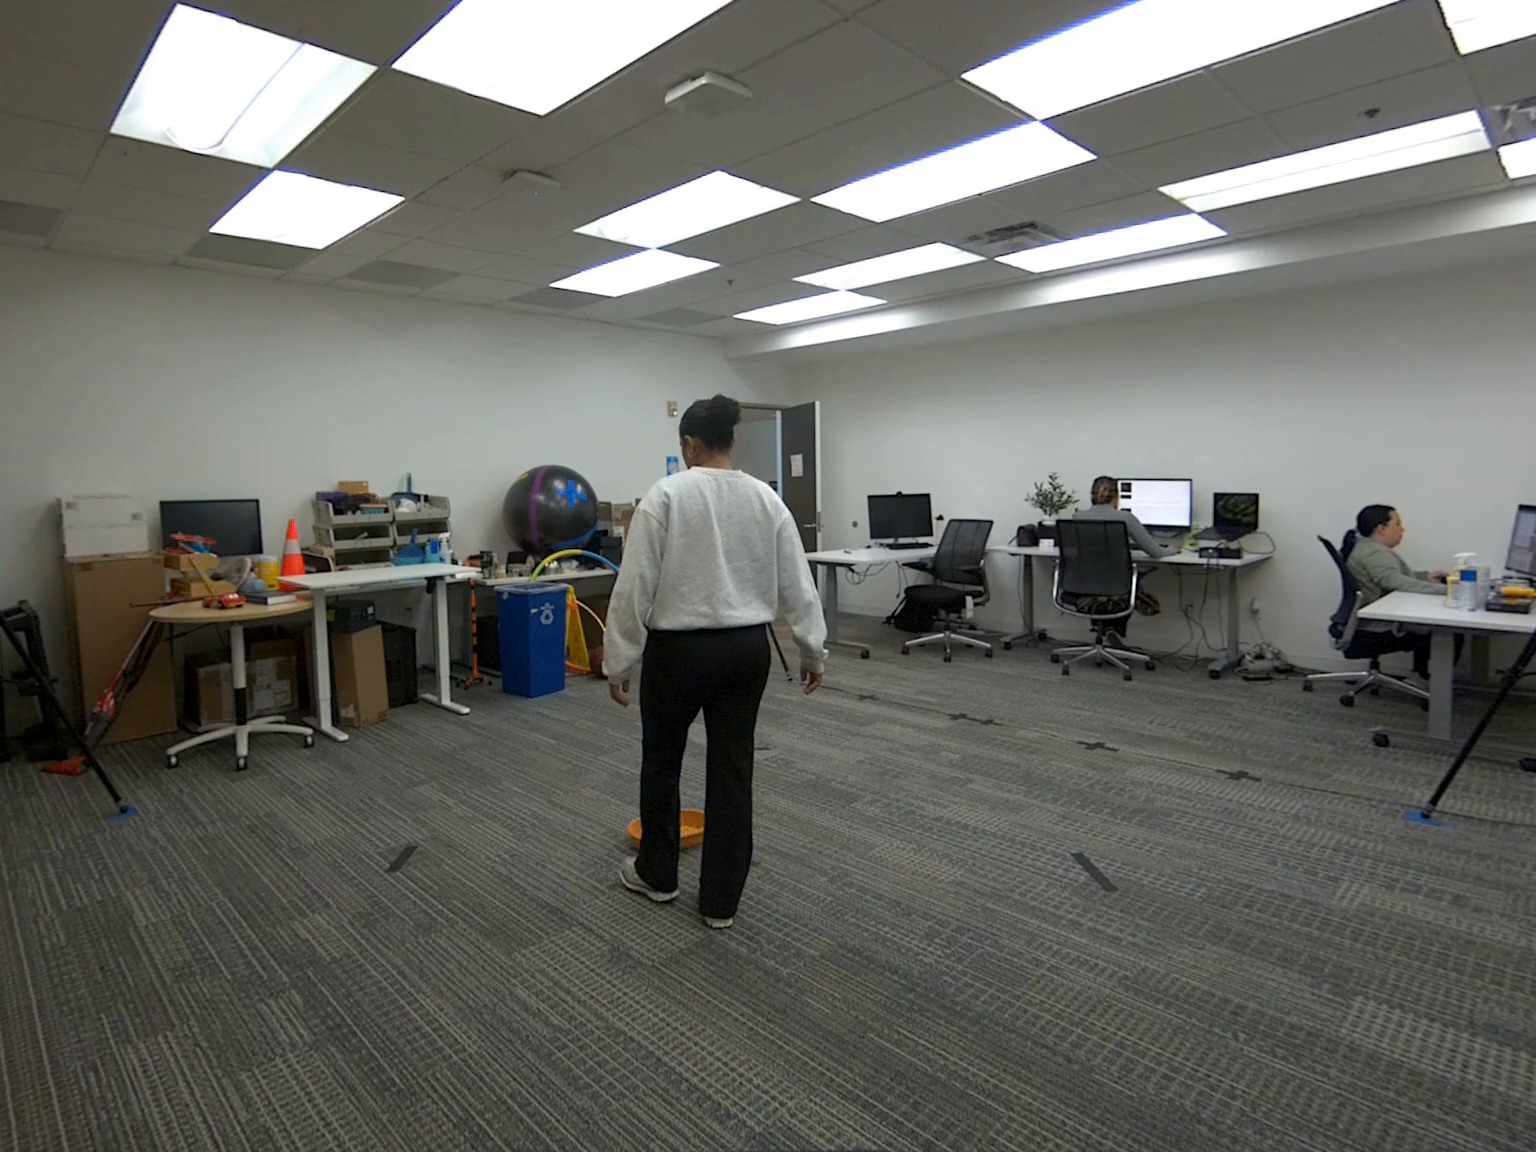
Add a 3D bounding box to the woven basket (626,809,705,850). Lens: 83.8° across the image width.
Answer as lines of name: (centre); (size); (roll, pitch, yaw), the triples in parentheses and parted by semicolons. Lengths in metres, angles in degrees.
woven basket: (-0.373, 0.993, 3.299); (0.342, 0.073, 0.259); (-4, 7, -30)
